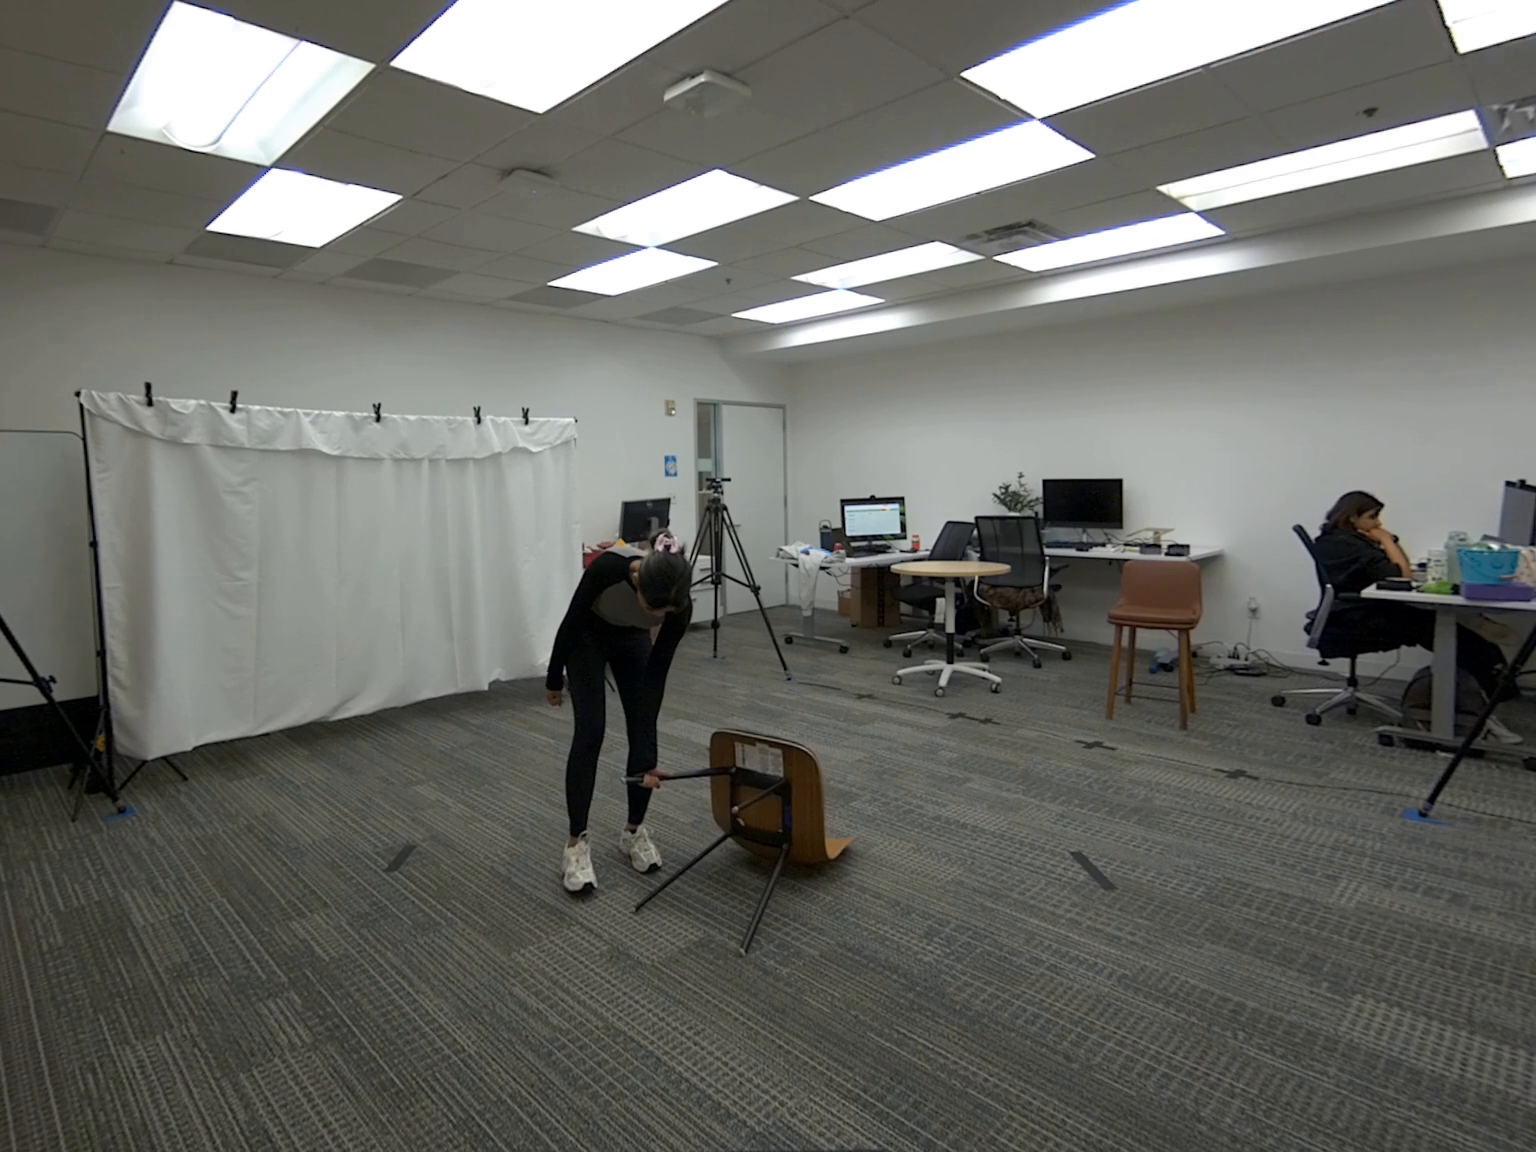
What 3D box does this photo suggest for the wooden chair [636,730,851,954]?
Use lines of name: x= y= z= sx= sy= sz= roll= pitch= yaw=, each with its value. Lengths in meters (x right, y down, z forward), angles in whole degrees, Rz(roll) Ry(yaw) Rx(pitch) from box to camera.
wooden chair: x=-0.031 y=0.800 z=2.943 sx=0.492 sy=0.521 sz=0.856 roll=2 pitch=5 yaw=34
